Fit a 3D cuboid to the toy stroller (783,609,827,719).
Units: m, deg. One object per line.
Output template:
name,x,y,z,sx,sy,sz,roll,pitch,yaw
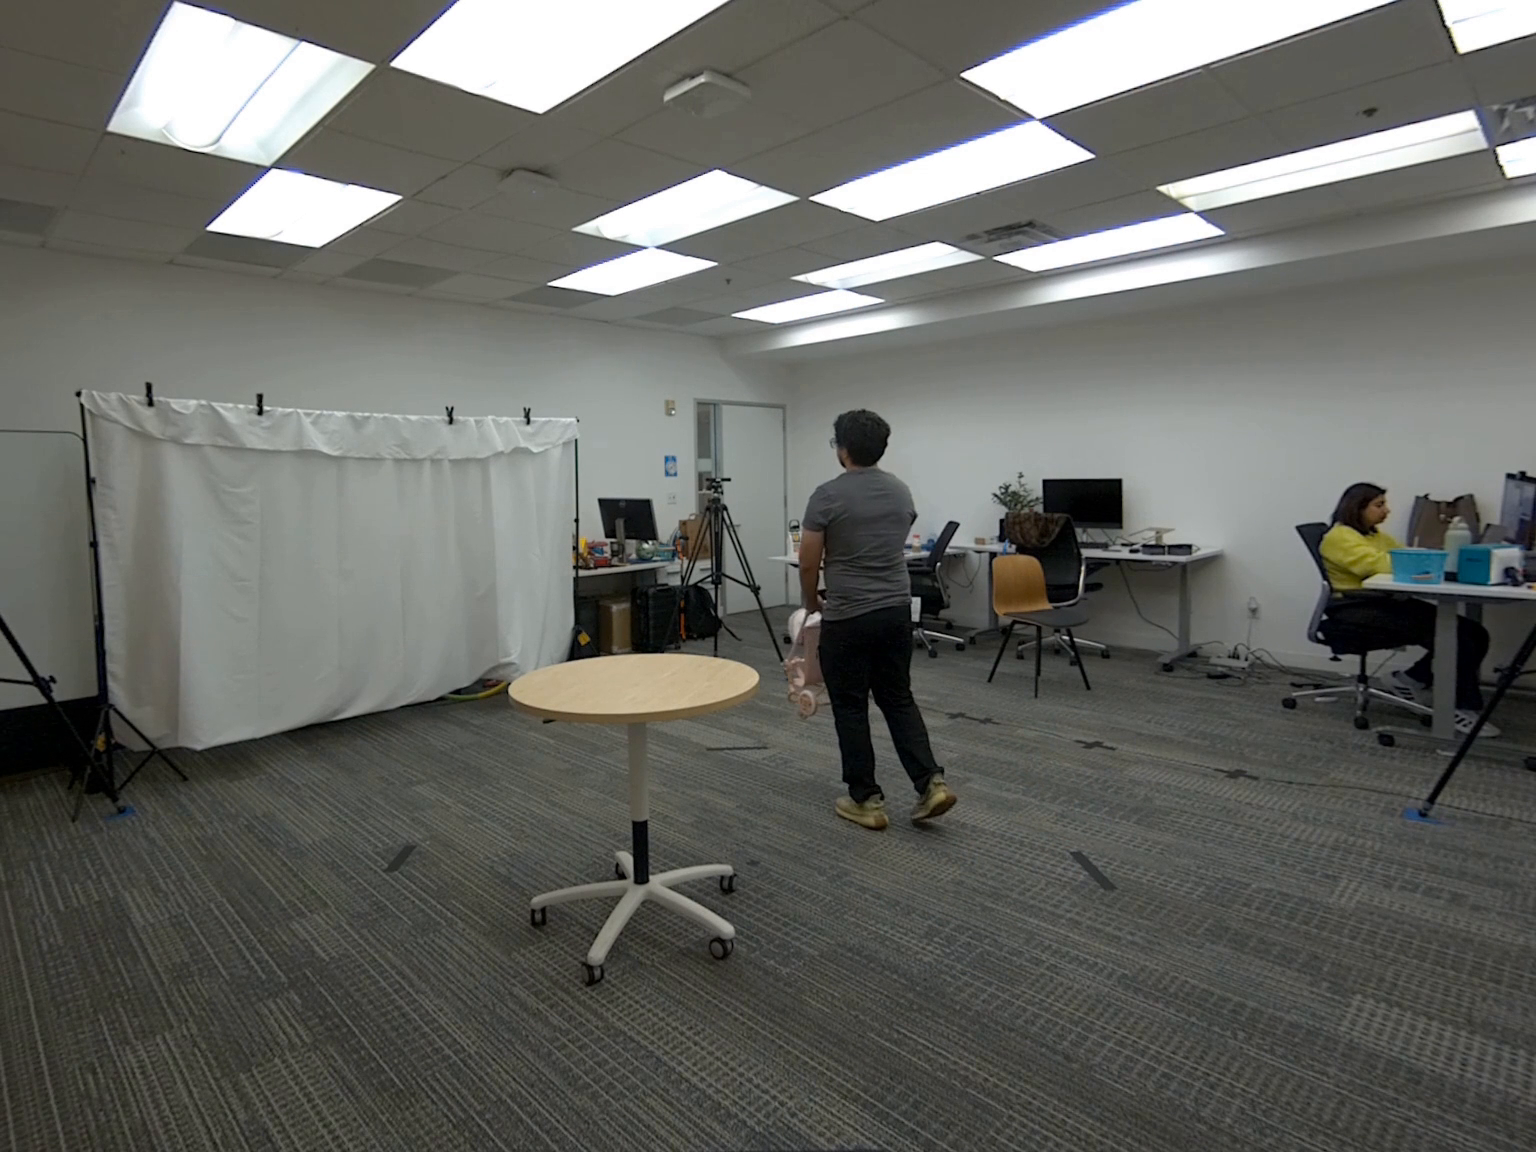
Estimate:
toy stroller,0.209,0.380,3.789,0.275,0.535,0.348,-5,0,-28
